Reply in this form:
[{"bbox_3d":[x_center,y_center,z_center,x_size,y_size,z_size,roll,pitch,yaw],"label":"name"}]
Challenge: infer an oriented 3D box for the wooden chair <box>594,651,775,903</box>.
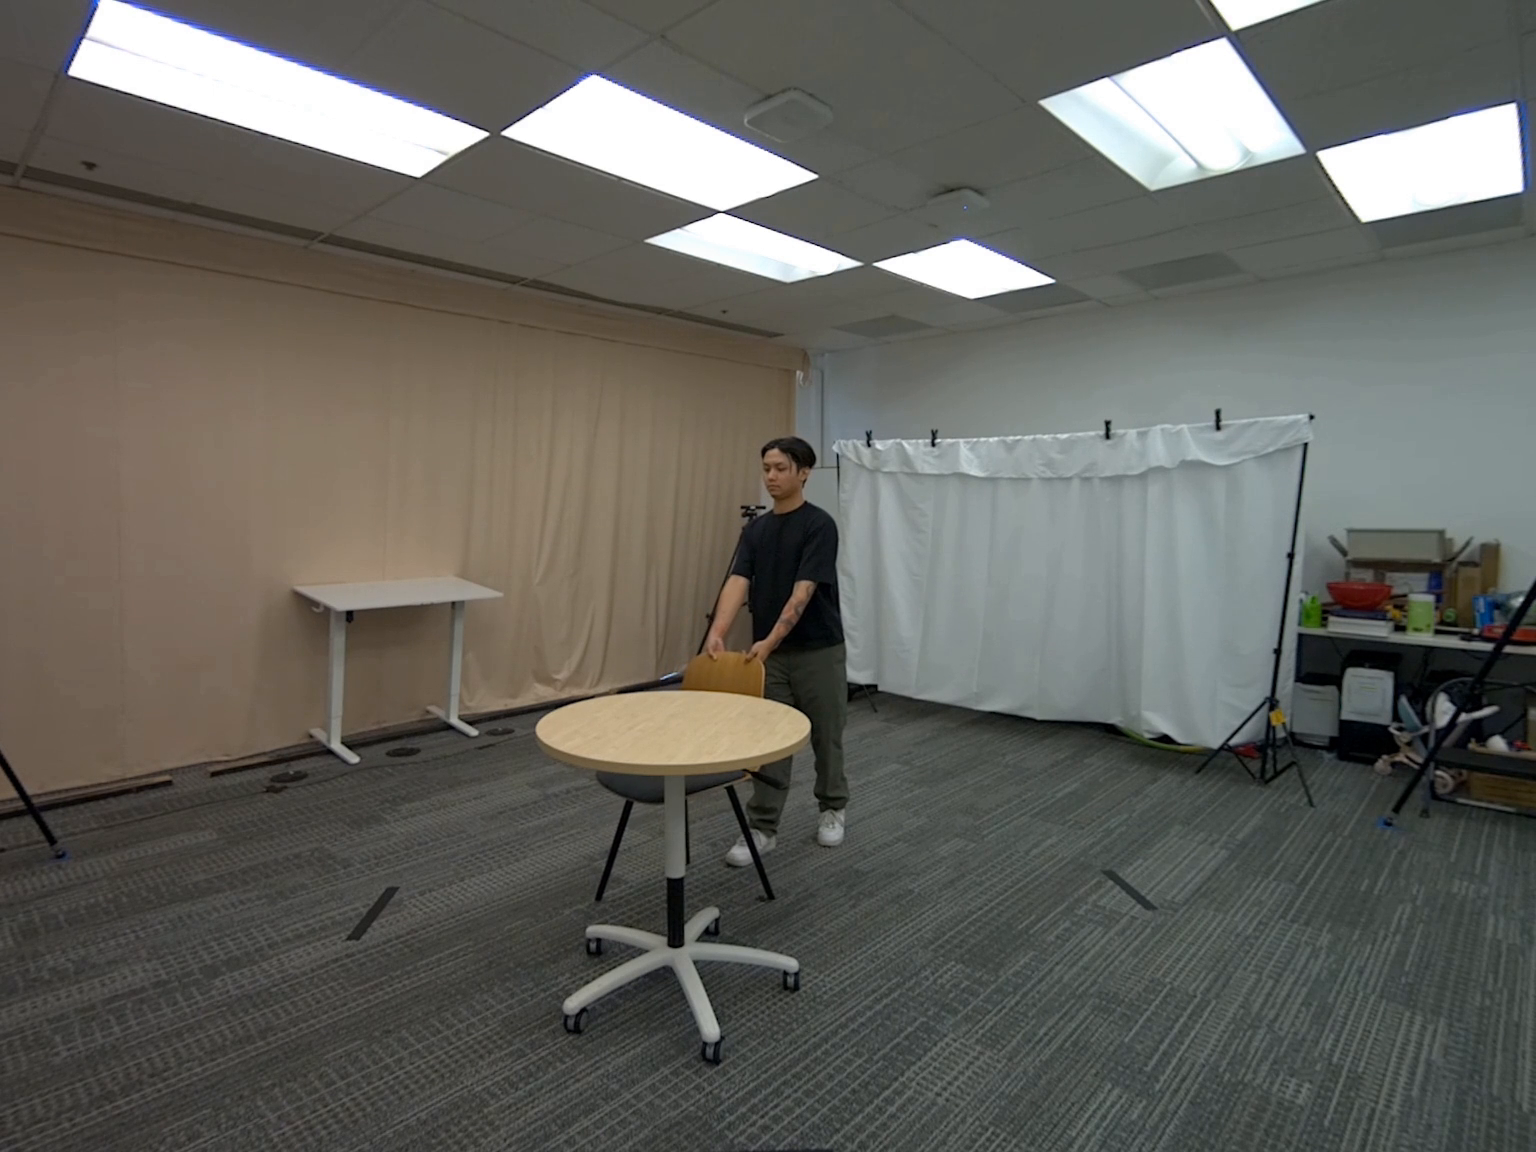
[{"bbox_3d":[-0.297,0.720,2.941,0.494,0.877,0.506,3,0,43],"label":"wooden chair"}]
